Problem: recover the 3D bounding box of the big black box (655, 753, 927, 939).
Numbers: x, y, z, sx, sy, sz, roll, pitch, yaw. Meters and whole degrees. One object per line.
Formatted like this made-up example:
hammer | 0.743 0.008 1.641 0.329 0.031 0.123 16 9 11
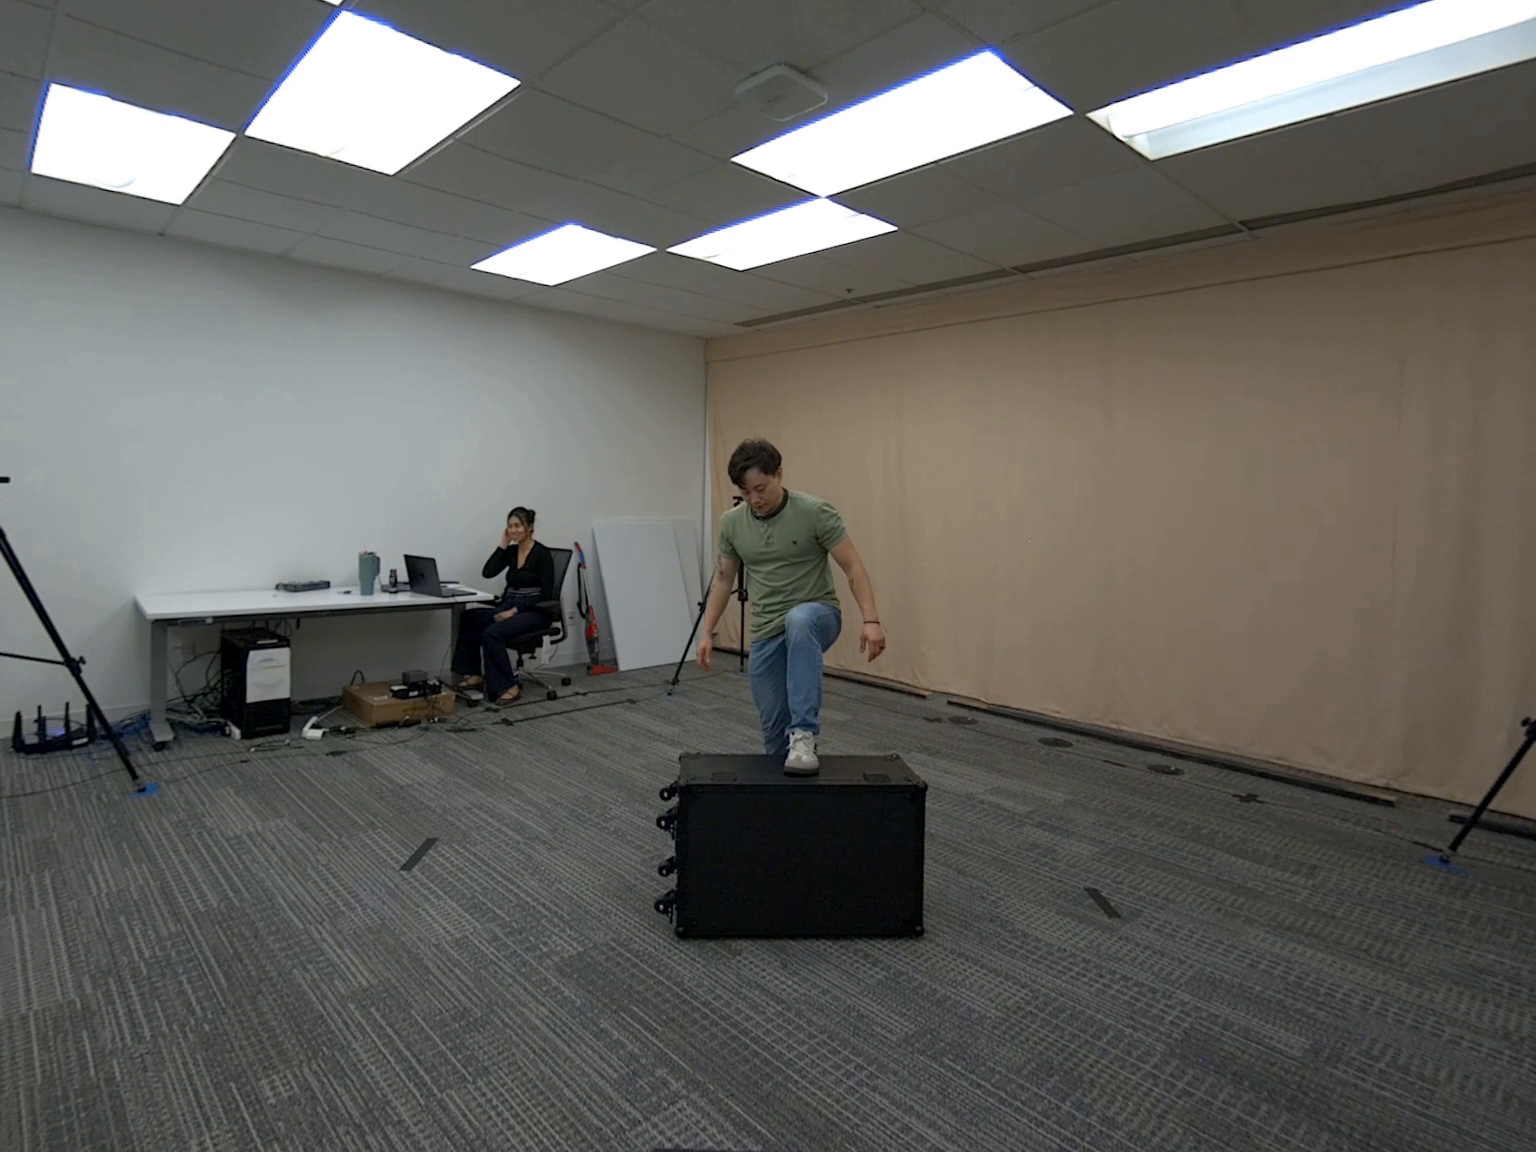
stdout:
big black box | 0.057 0.879 2.826 0.858 0.521 0.398 1 2 -4
